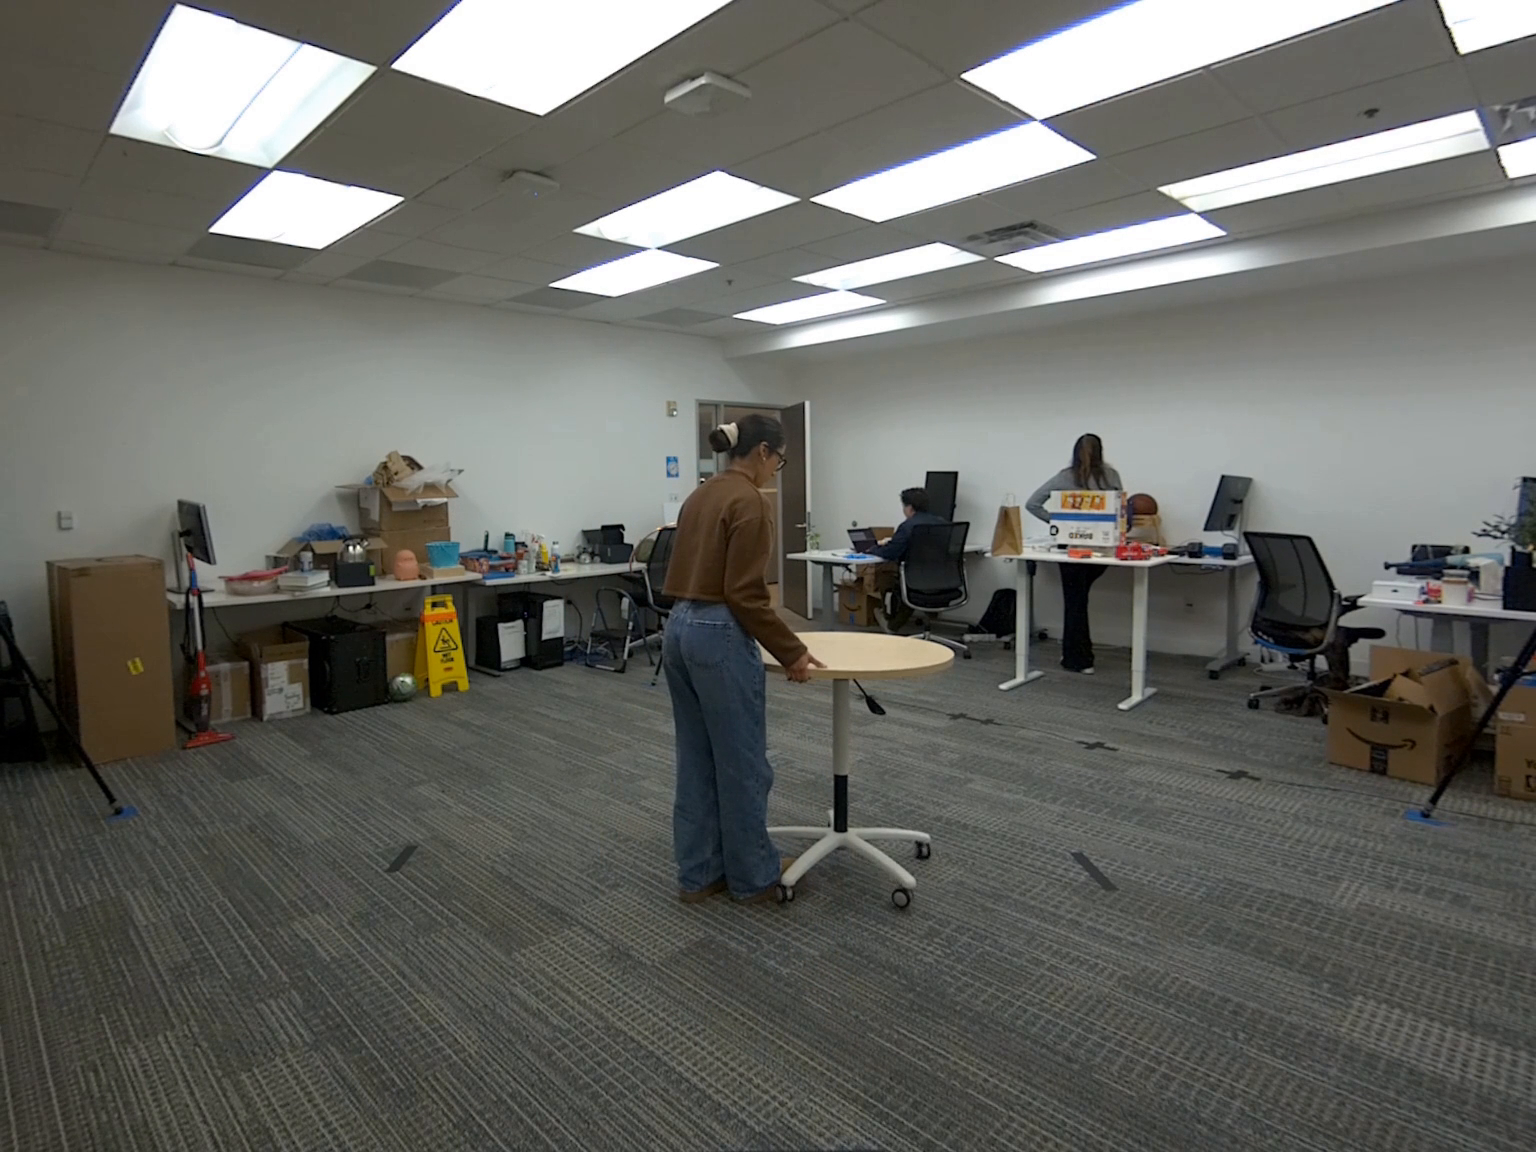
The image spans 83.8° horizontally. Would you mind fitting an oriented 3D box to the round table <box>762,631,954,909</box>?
[{"bbox_3d":[0.264,0.651,3.013,0.763,0.792,0.767,0,3,-2],"label":"round table"}]
